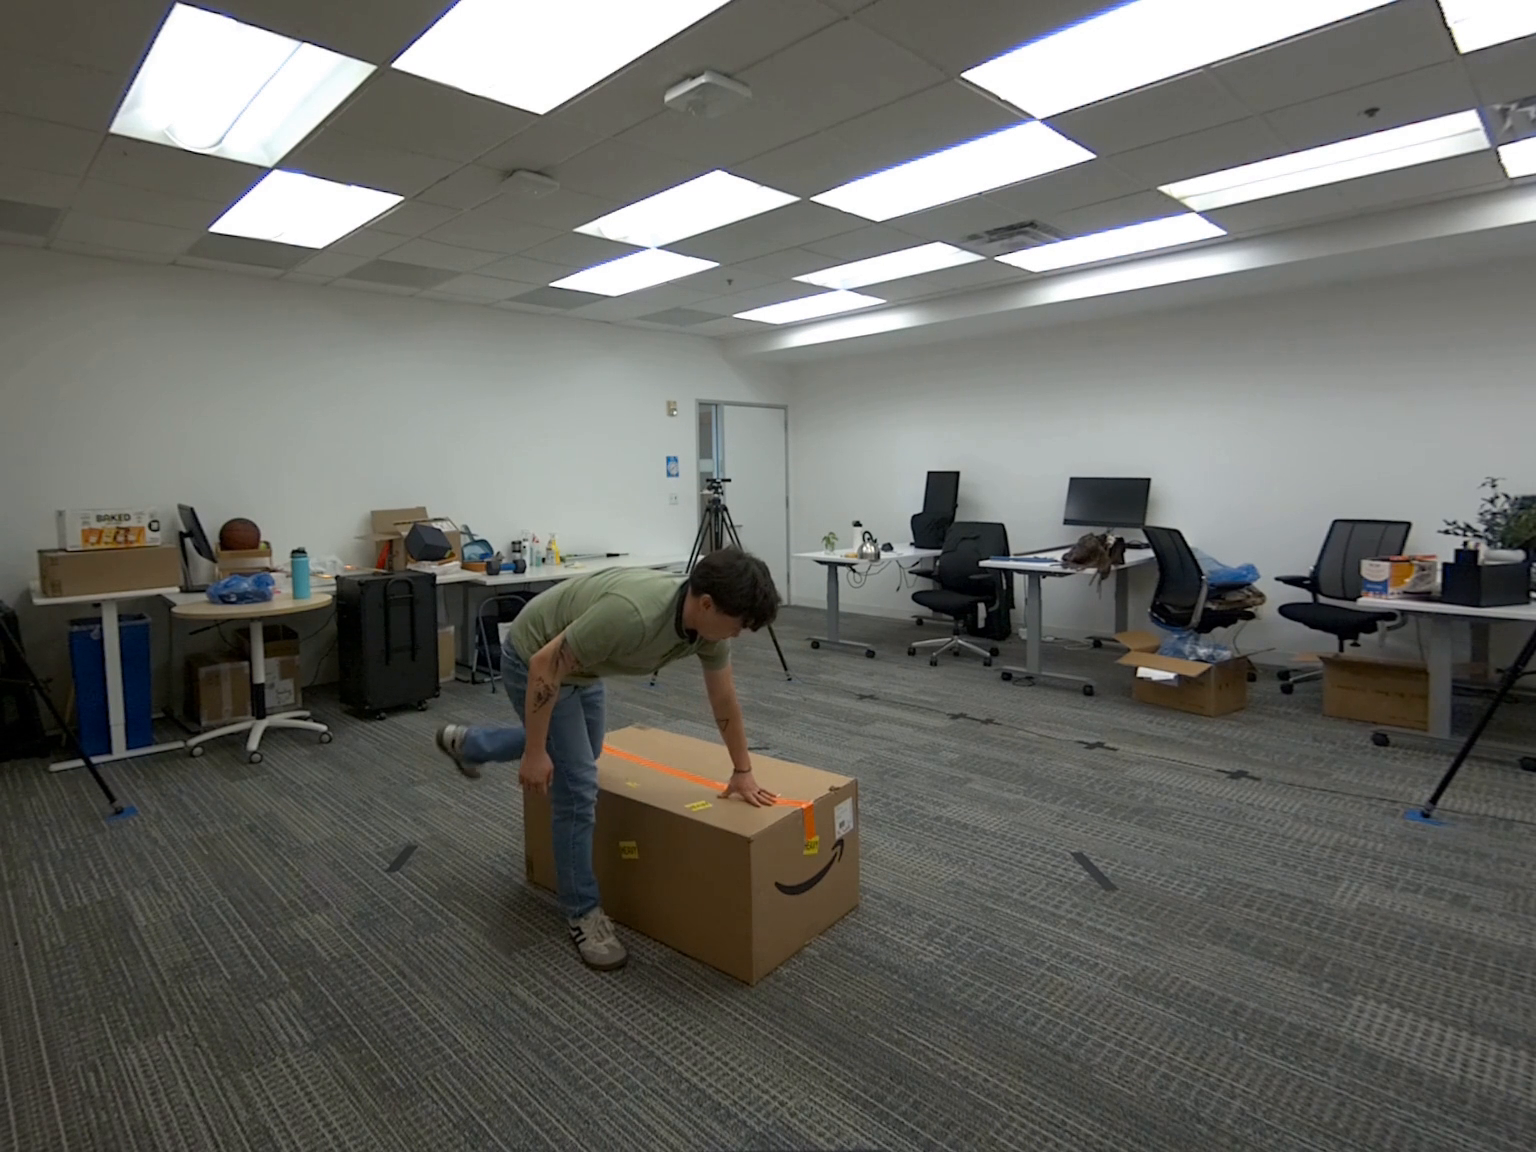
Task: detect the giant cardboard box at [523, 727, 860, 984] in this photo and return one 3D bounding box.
[{"bbox_3d":[-0.279,0.861,2.892,1.057,0.424,0.563,4,8,39],"label":"giant cardboard box"}]
